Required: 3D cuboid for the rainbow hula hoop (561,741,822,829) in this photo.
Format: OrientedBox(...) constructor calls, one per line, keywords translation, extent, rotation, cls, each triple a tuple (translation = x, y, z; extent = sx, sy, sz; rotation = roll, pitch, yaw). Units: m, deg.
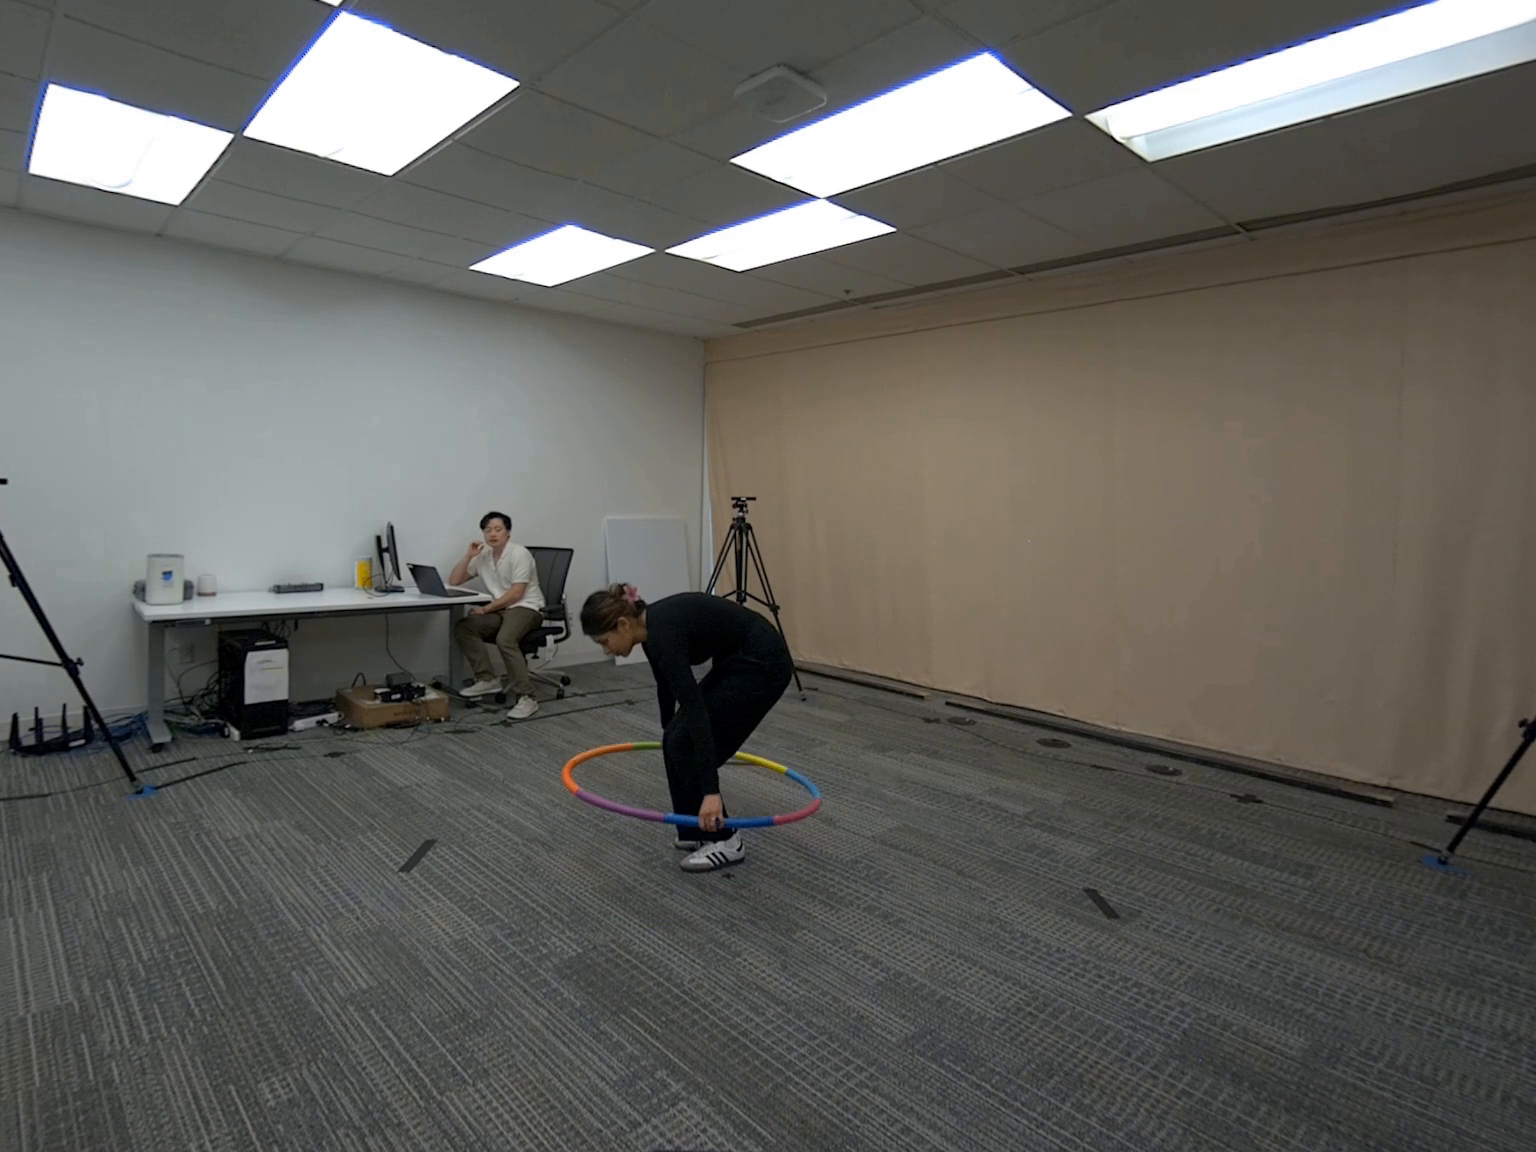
OrientedBox(translation=(-0.294, 0.787, 3.245), extent=(0.978, 0.035, 0.980), rotation=(6, 3, -2), cls="rainbow hula hoop")
